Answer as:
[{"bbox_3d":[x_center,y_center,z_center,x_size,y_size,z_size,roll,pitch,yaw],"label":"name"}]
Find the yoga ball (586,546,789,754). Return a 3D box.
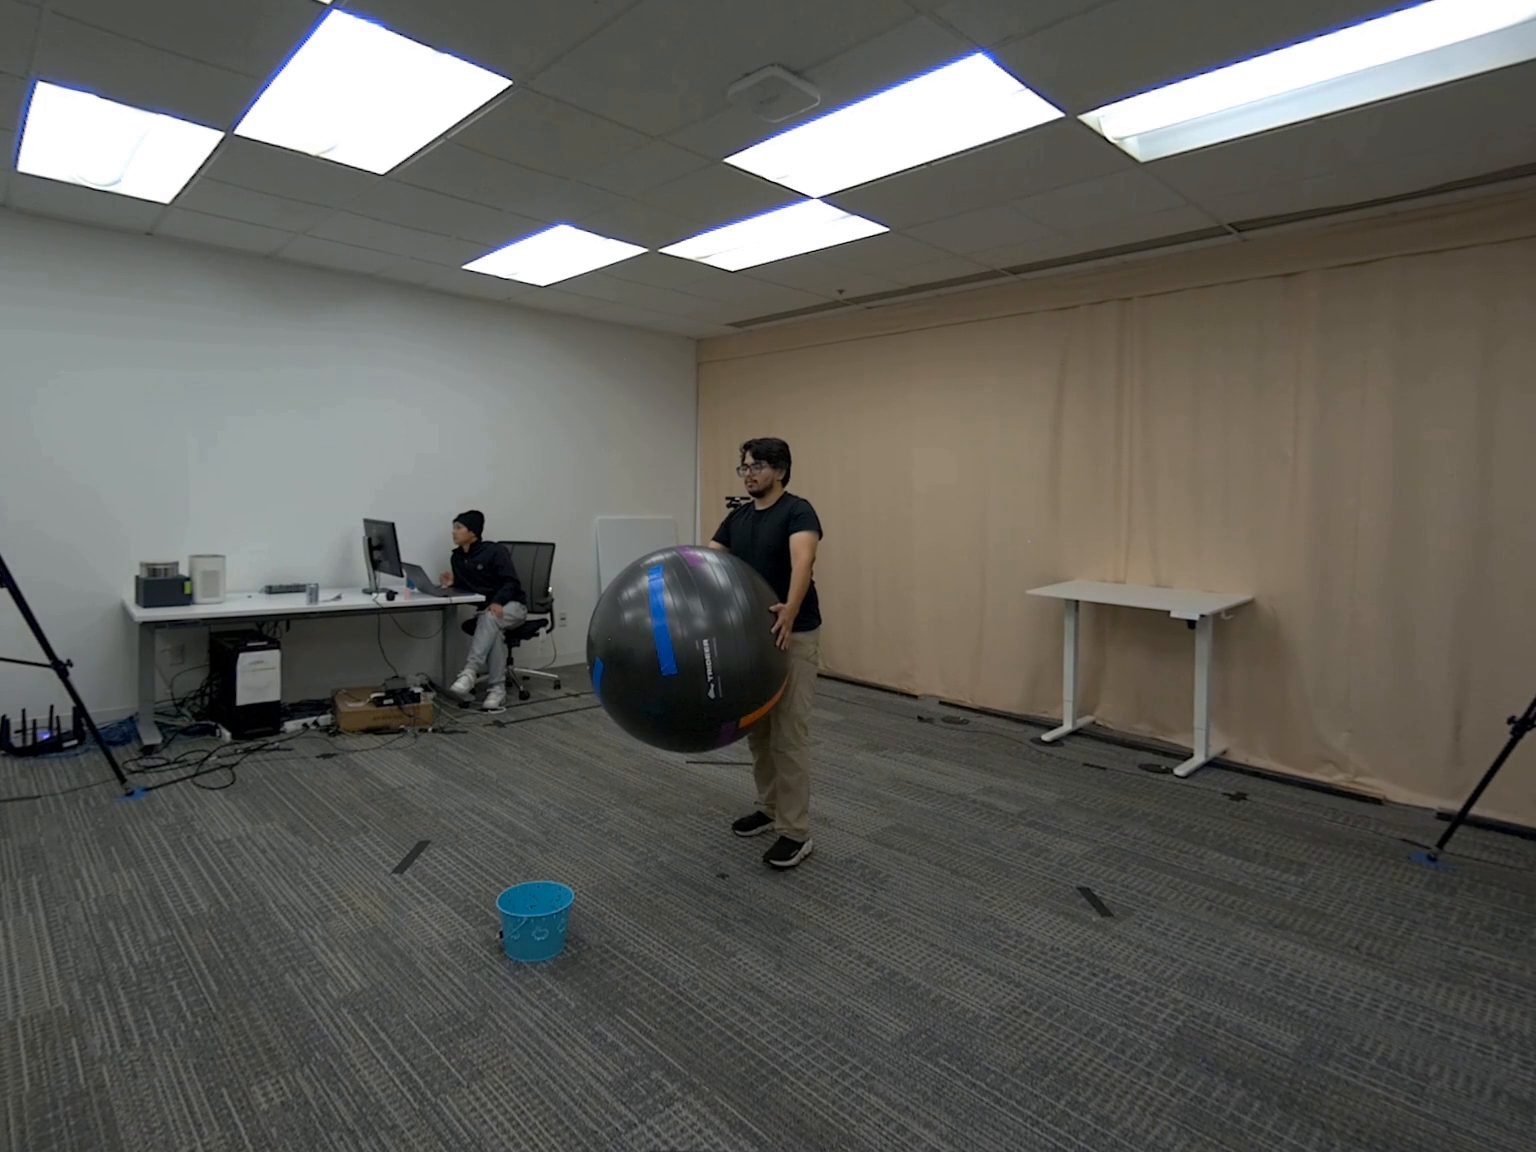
[{"bbox_3d":[-0.298,0.272,3.114,0.757,0.756,0.761,1,4,-1],"label":"yoga ball"}]
